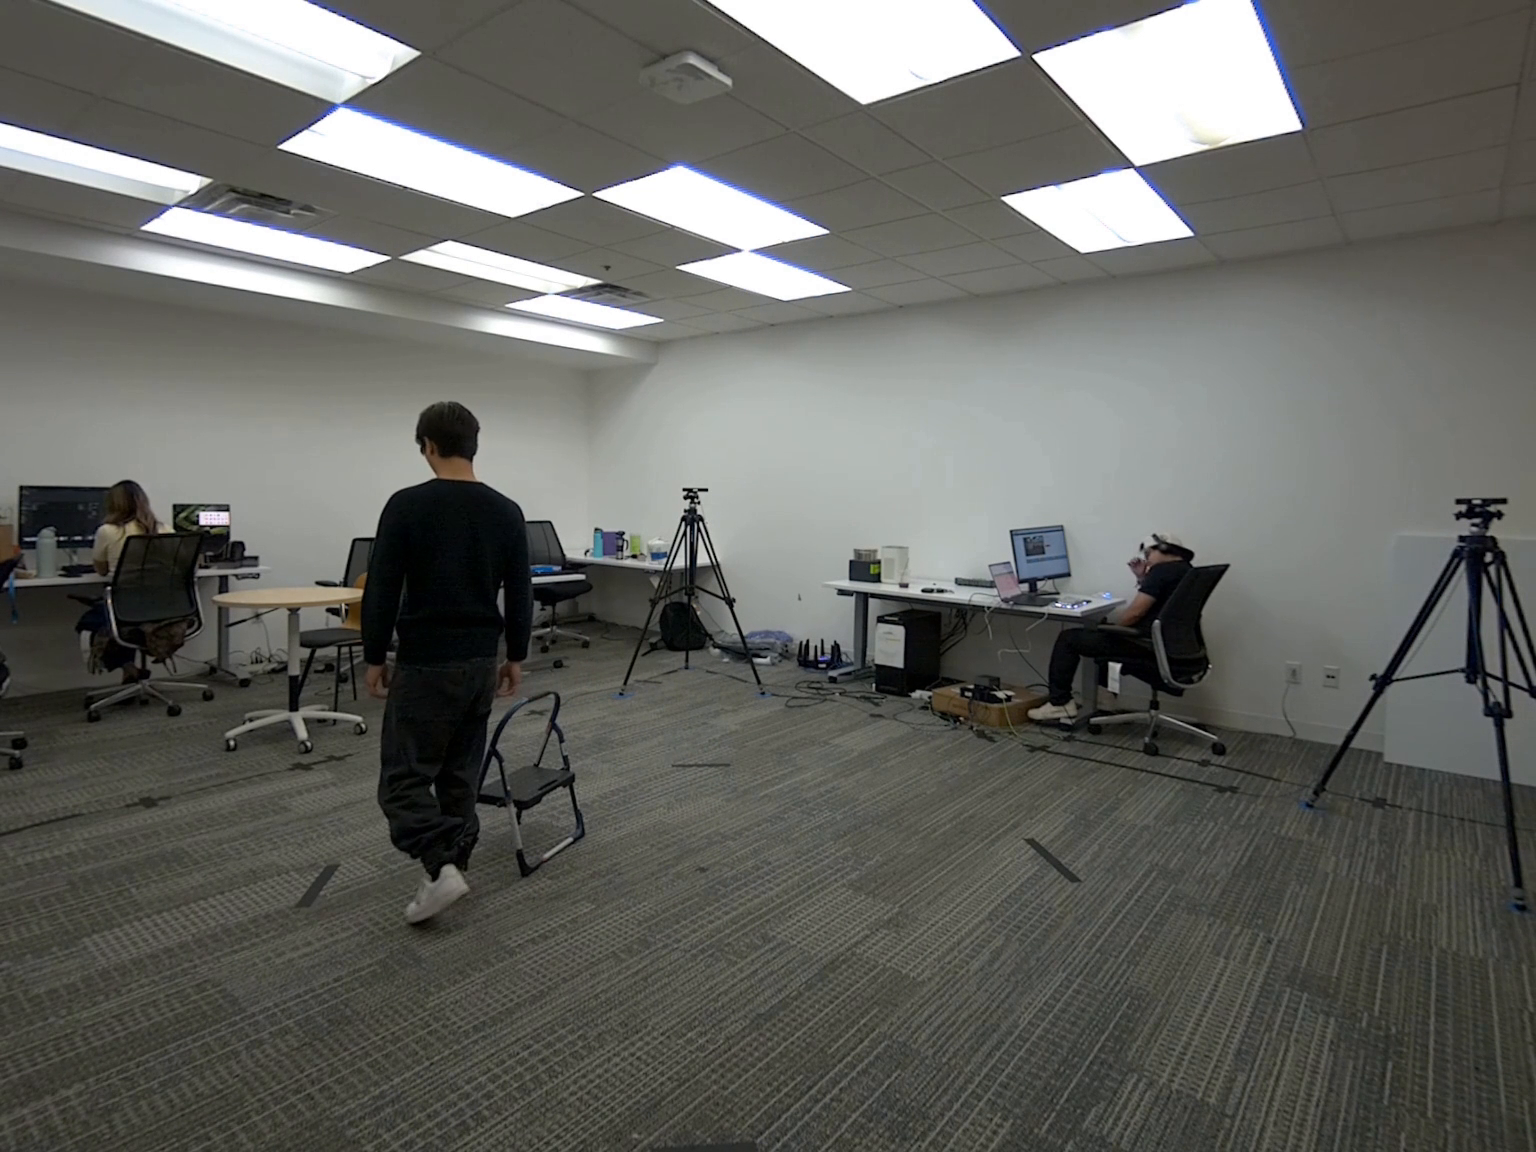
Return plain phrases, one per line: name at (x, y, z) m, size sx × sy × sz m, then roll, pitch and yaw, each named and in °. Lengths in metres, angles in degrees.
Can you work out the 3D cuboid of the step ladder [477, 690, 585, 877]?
step ladder at (-0.962, 0.741, 3.251) m, size 0.357 × 0.604 × 0.423 m, roll 2°, pitch 4°, yaw 19°
